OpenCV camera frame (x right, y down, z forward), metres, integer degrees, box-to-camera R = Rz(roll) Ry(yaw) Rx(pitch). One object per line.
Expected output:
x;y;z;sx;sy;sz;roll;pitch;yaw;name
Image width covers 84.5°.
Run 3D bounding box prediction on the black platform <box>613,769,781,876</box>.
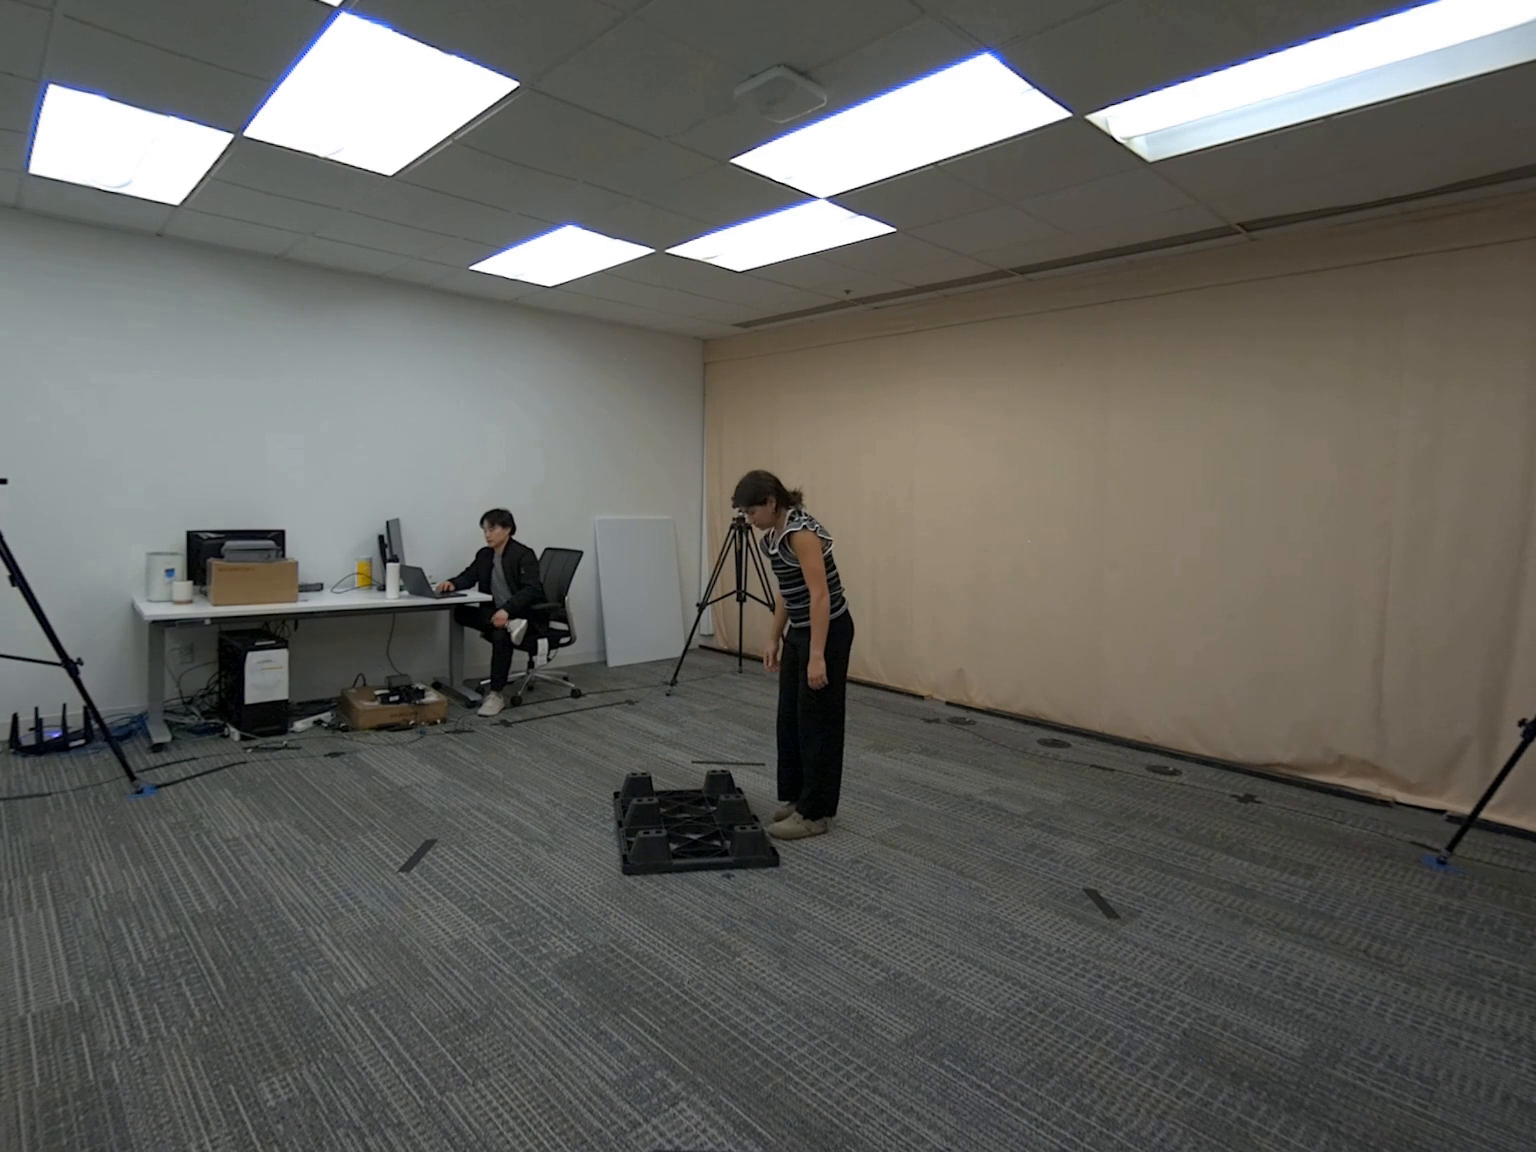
-0.343;0.997;3.521;0.599;0.143;0.815;1;5;-13;black platform
